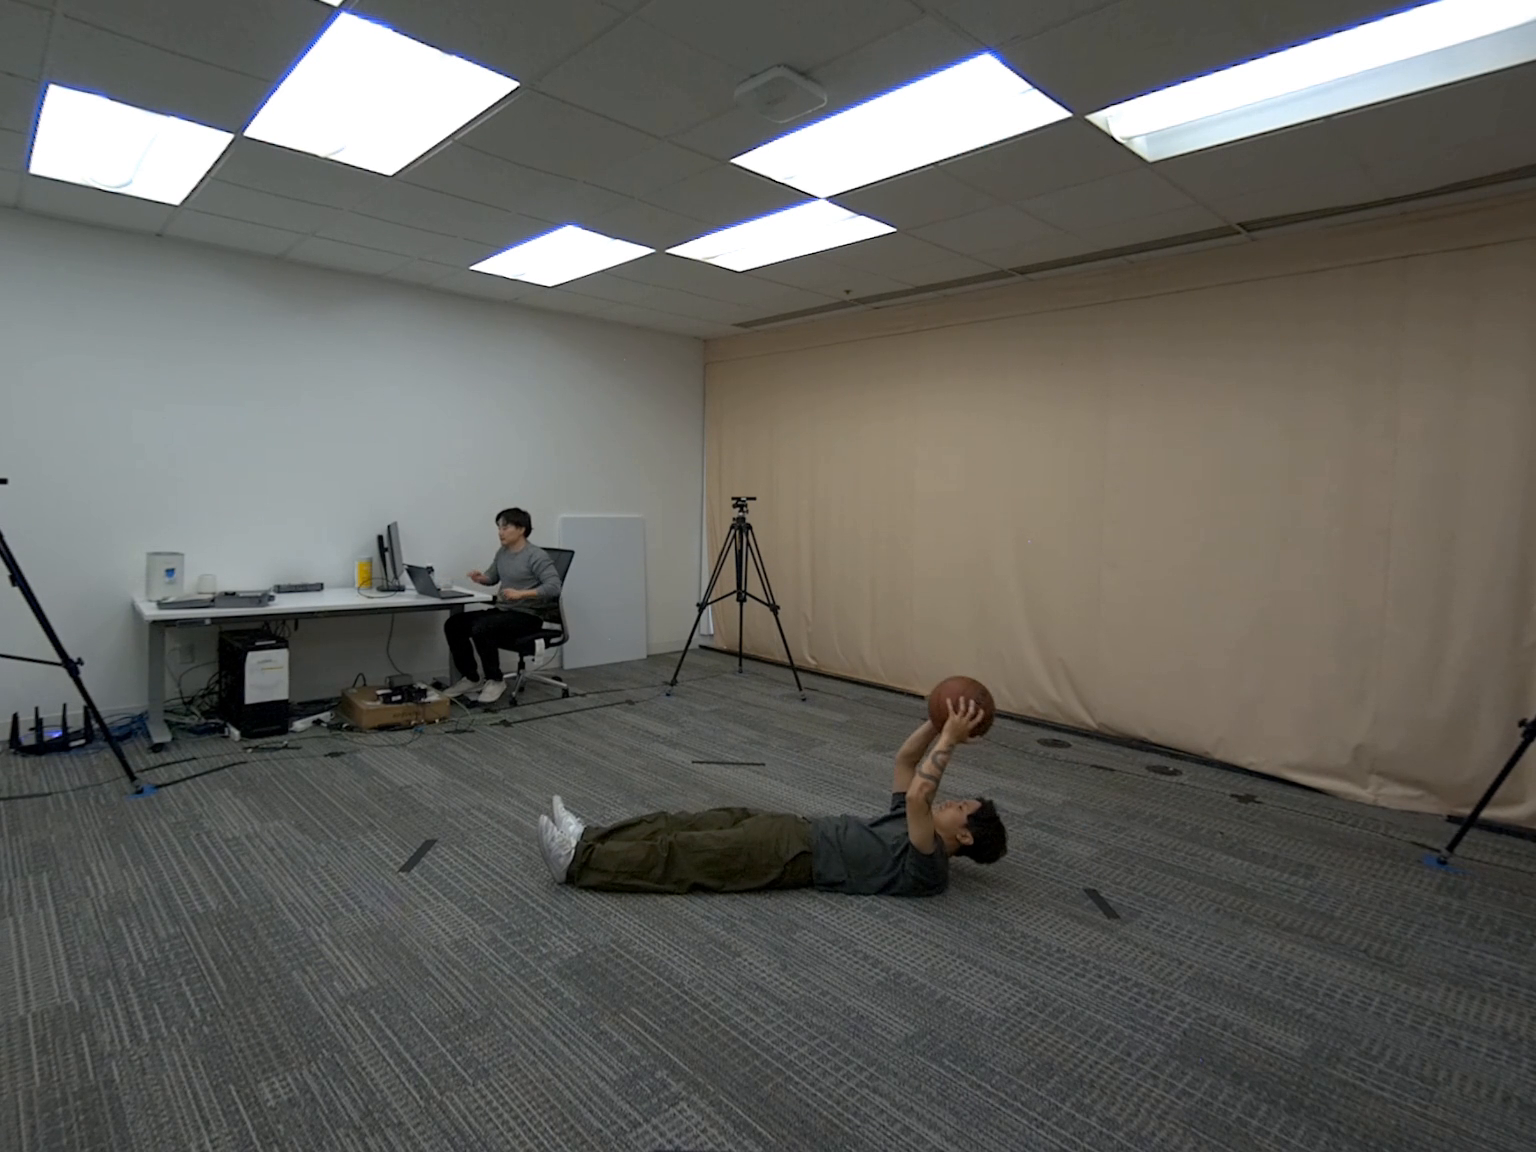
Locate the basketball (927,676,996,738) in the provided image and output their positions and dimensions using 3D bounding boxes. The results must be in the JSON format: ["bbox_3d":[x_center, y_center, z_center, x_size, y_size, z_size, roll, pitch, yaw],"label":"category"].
[{"bbox_3d":[0.704,0.499,3.083,0.236,0.235,0.237,1,4,-1],"label":"basketball"}]
